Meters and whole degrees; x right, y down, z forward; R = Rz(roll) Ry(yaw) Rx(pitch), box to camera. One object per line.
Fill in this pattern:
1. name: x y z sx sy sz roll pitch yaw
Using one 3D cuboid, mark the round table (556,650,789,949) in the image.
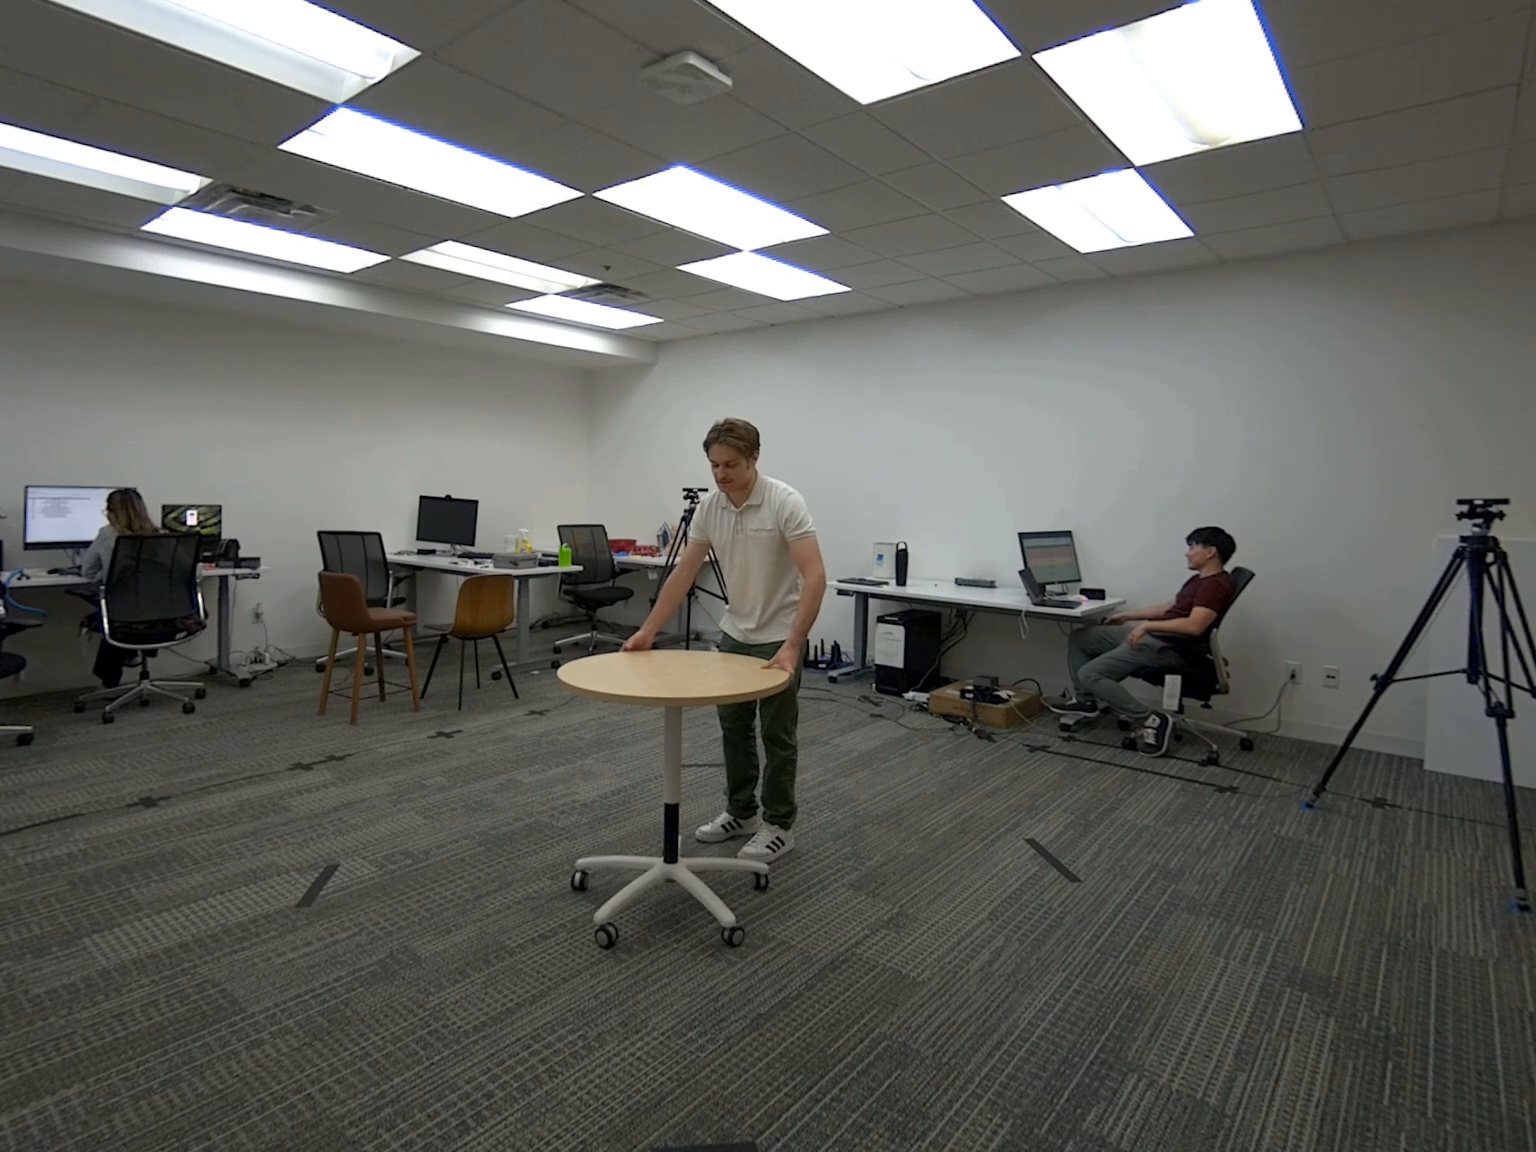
1. round table: -0.327 0.704 2.833 0.763 0.792 0.767 0 4 -2
